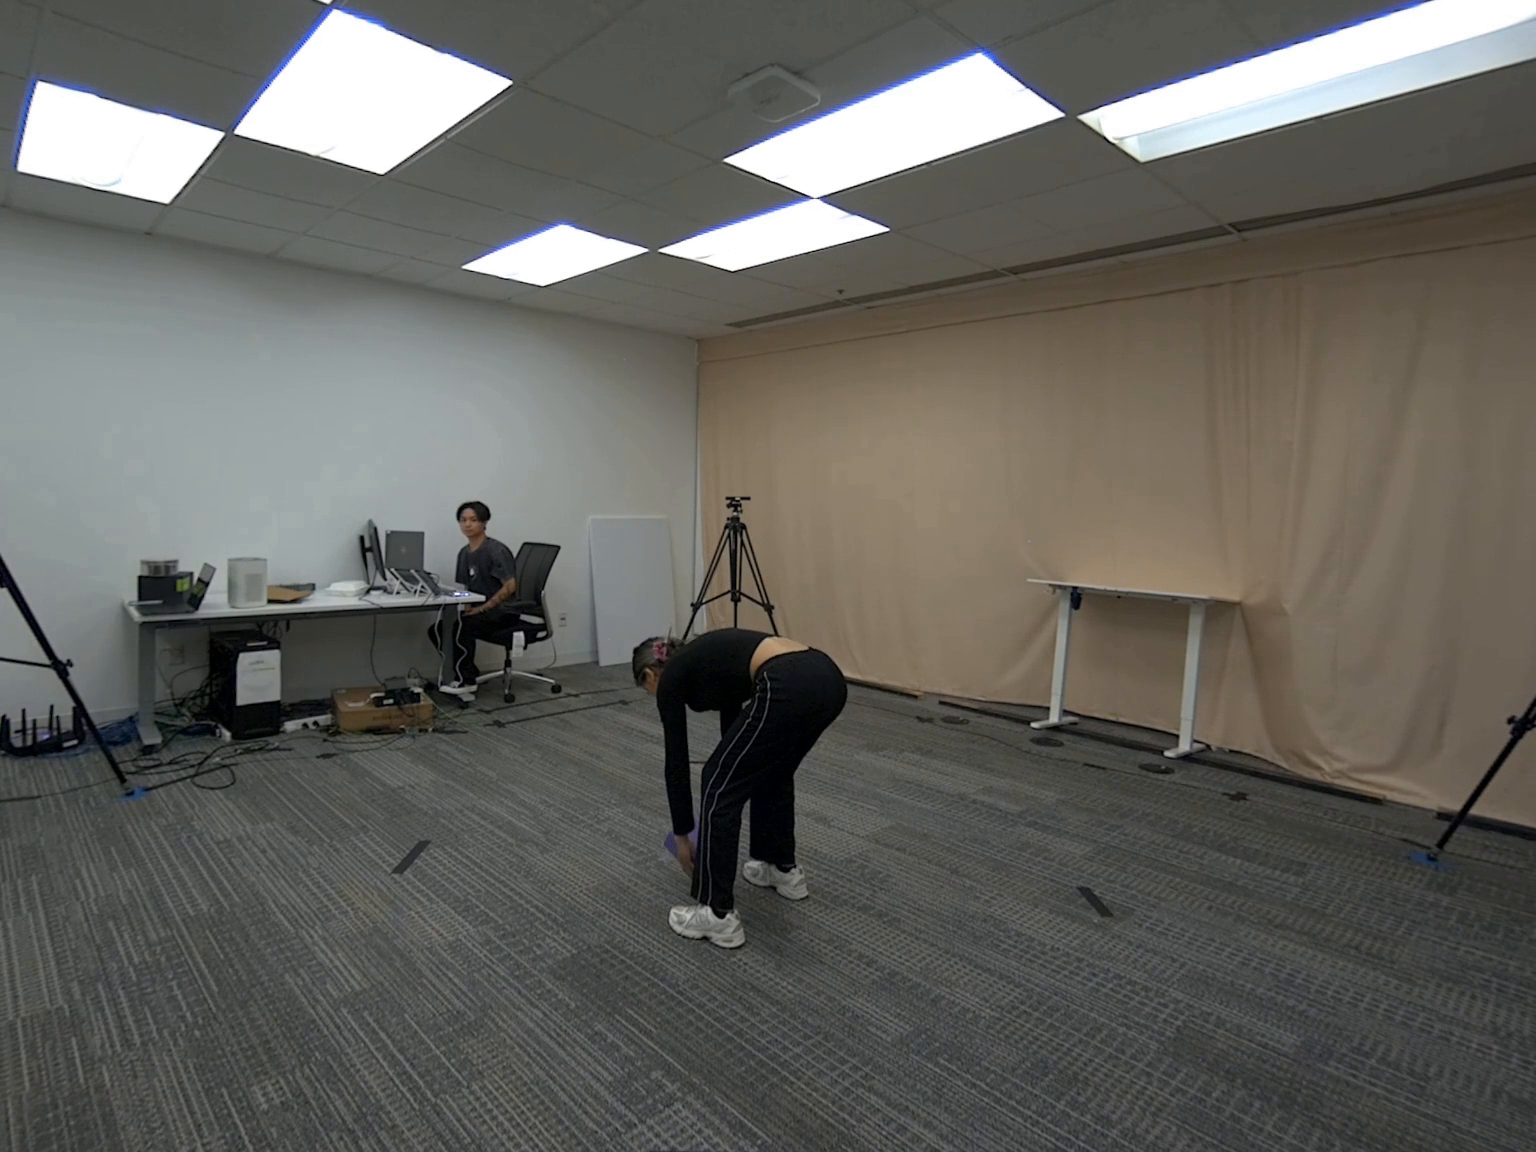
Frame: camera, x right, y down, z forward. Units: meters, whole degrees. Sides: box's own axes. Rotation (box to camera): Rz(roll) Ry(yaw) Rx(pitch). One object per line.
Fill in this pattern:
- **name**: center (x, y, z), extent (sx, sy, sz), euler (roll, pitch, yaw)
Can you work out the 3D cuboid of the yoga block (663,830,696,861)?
- **yoga block**: center (-0.233, 0.977, 2.948), extent (0.235, 0.076, 0.147), euler (31, 24, 23)
